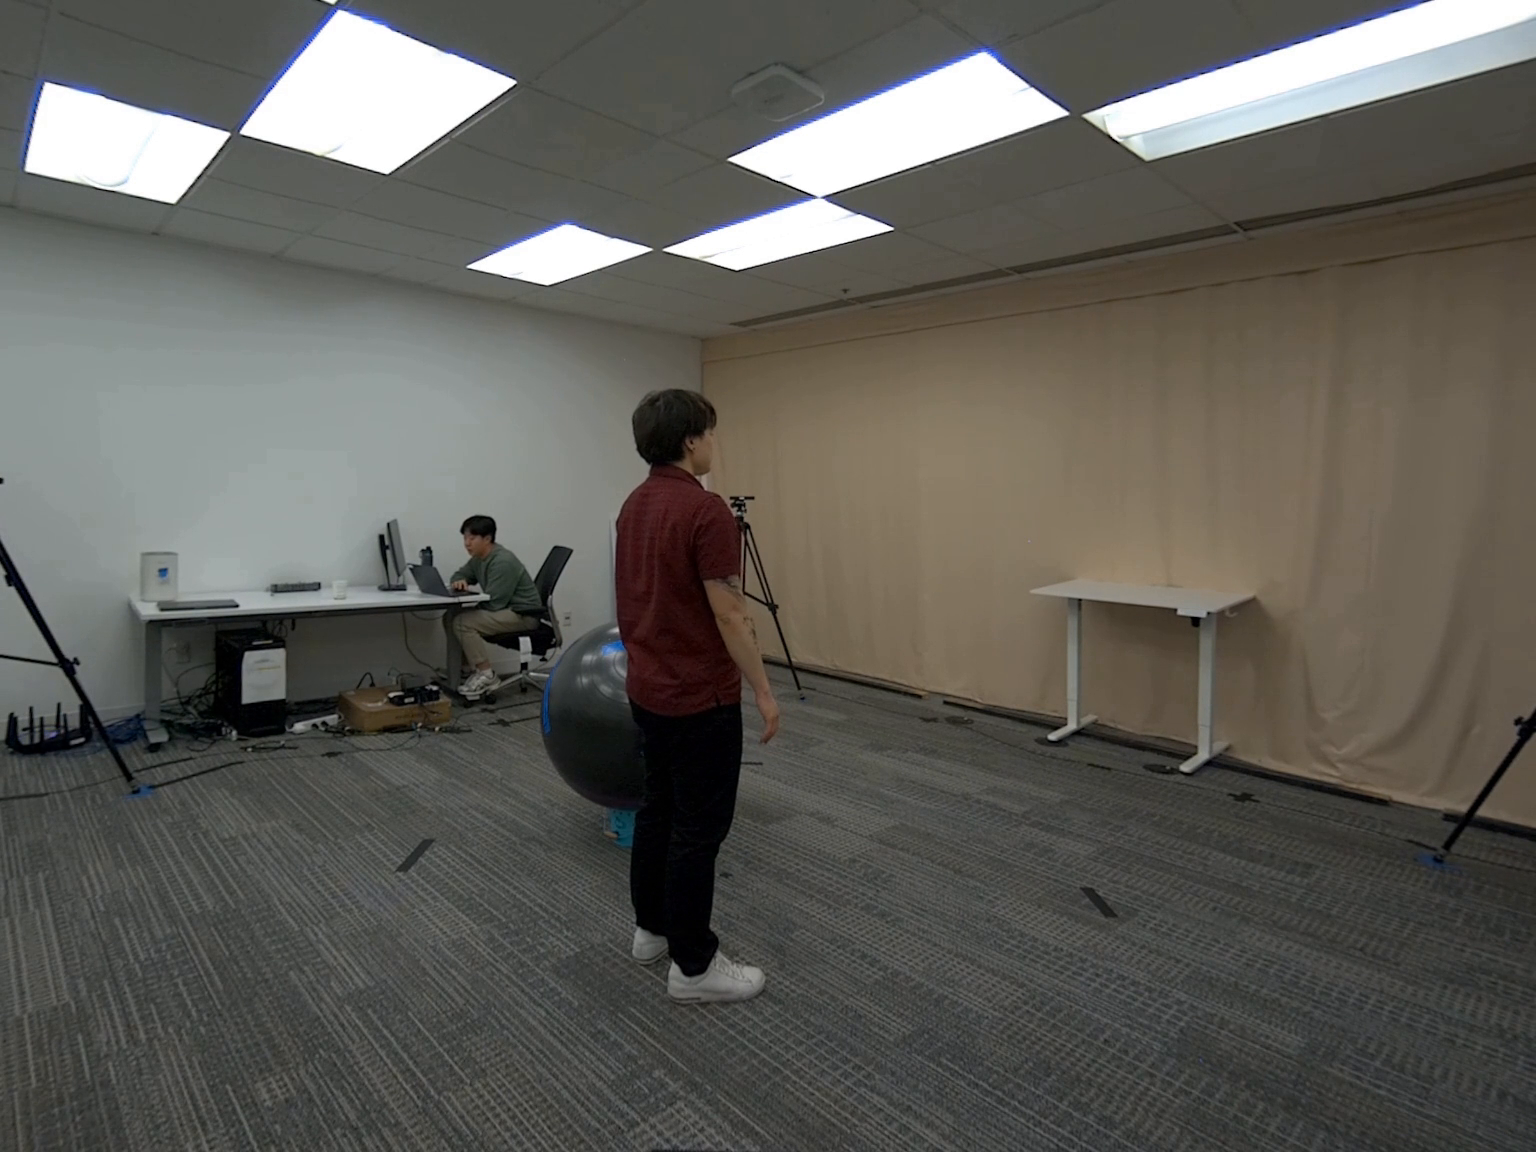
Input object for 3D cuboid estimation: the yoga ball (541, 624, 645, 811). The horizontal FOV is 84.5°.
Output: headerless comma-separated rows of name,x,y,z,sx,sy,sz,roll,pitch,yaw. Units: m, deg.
yoga ball,-0.547,0.560,3.422,0.757,0.756,0.761,1,4,-1
